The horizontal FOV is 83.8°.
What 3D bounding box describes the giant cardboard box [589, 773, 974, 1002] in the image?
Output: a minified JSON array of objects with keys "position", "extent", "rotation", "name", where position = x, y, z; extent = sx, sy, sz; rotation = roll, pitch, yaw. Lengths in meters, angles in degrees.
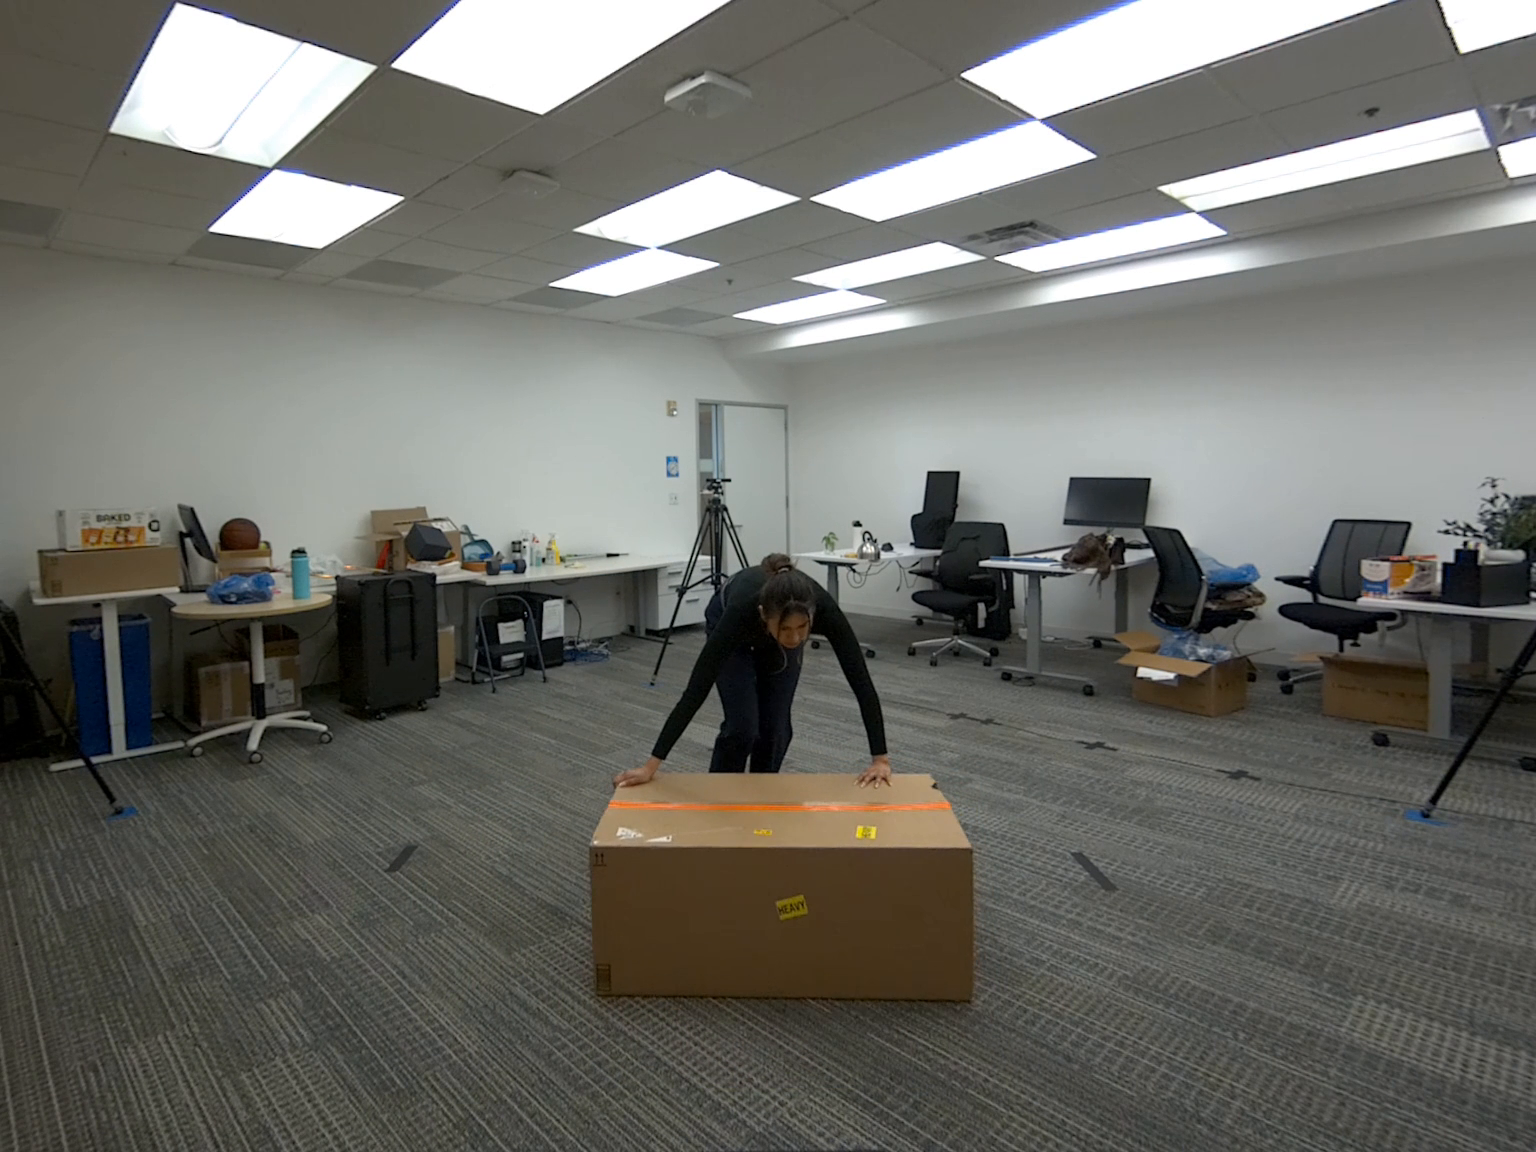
[{"position":[0.033,0.888,2.560],"extent":[1.029,0.425,0.578],"rotation":[-1,4,2],"name":"giant cardboard box"}]
